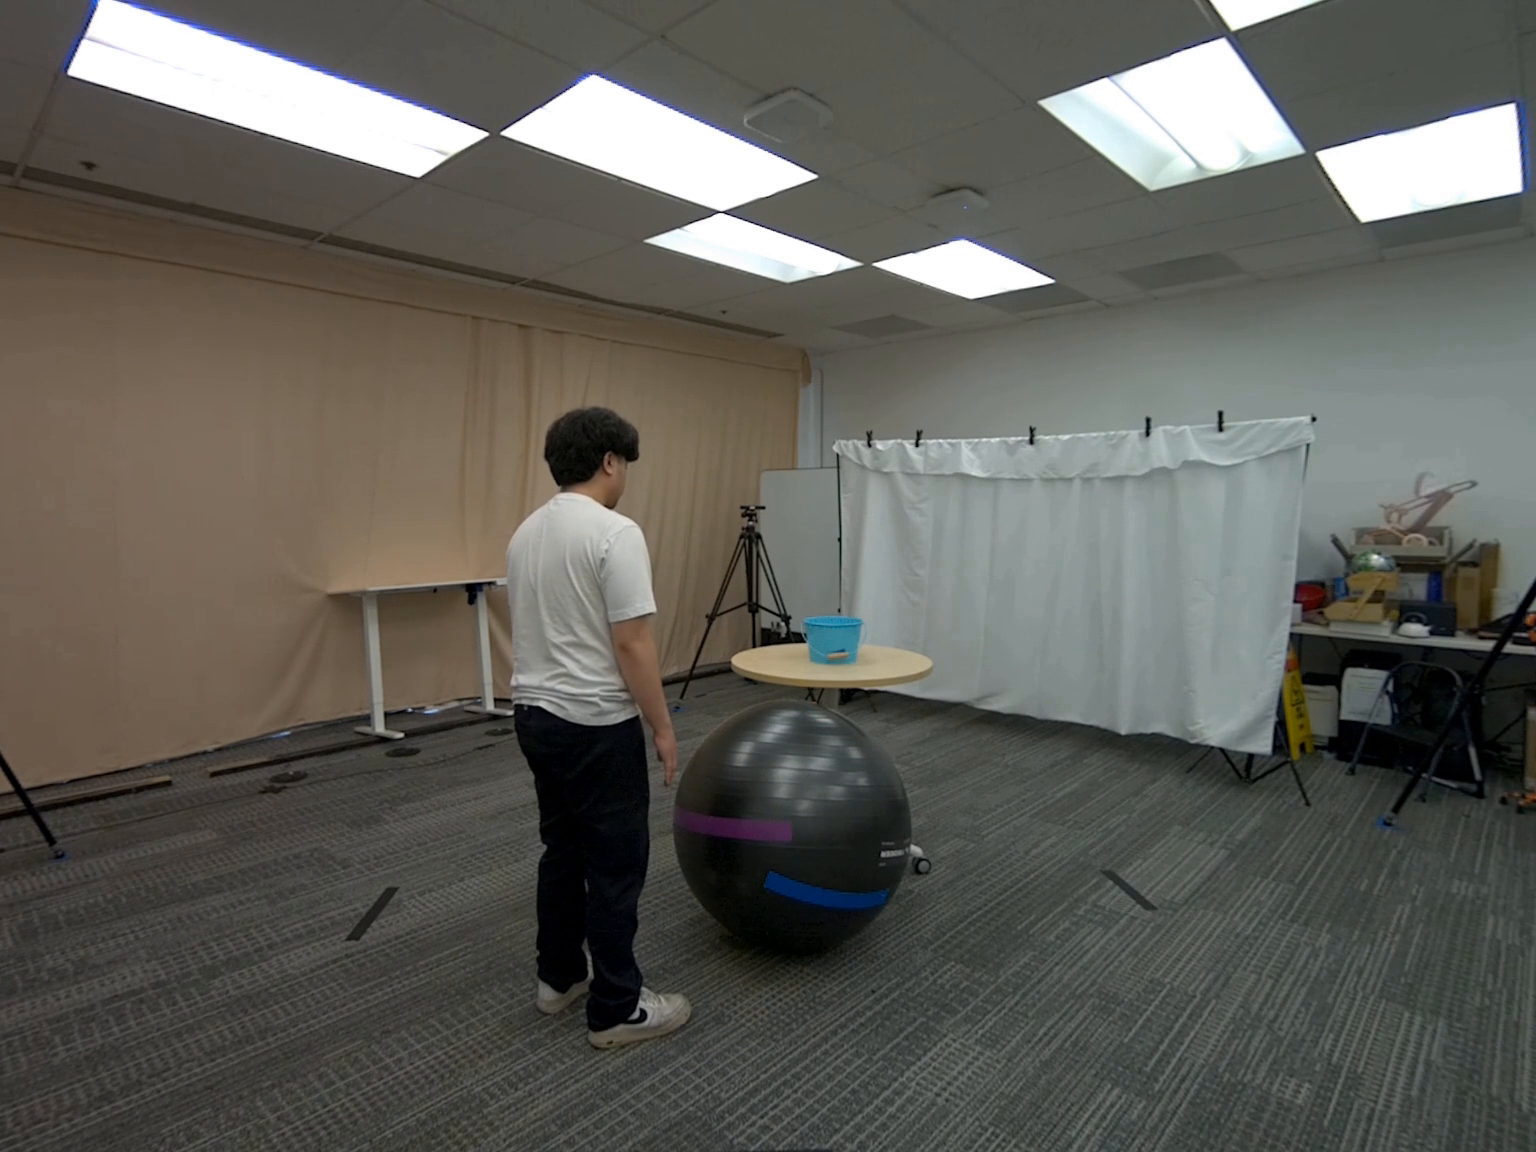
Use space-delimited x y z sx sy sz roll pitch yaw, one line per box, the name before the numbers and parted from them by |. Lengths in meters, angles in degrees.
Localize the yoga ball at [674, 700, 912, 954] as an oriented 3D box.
yoga ball | 0.077 0.793 2.714 0.757 0.756 0.760 0 4 -2
